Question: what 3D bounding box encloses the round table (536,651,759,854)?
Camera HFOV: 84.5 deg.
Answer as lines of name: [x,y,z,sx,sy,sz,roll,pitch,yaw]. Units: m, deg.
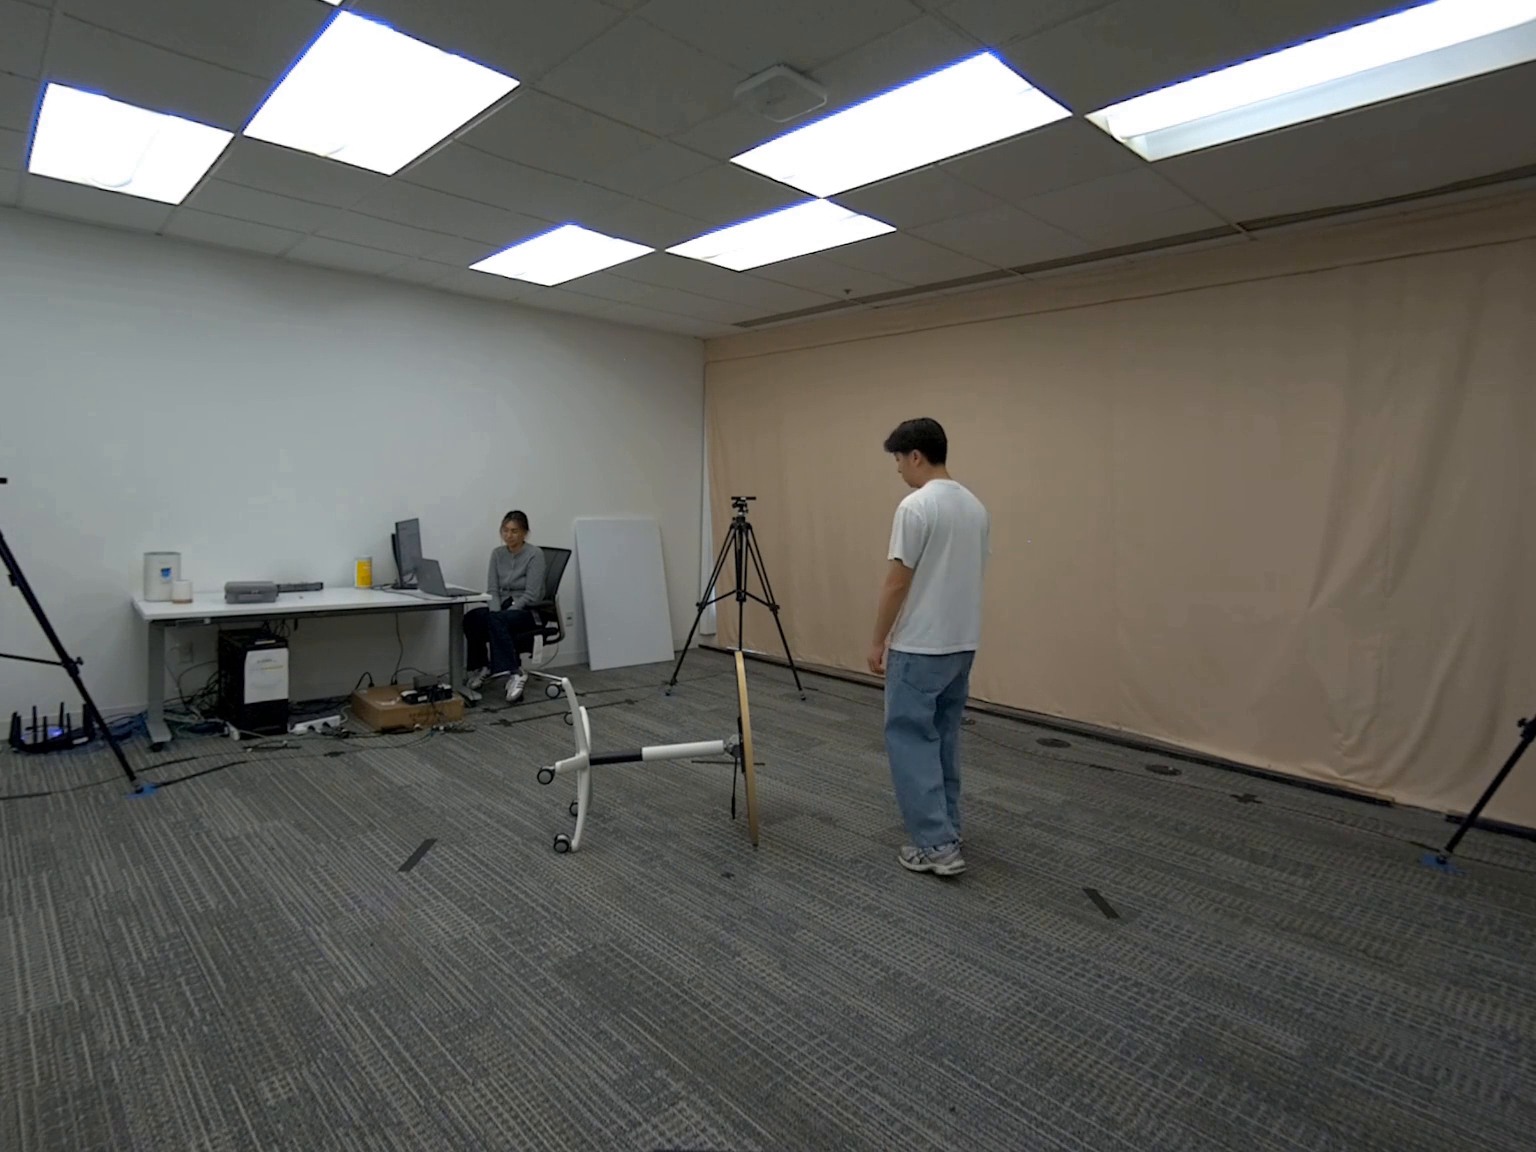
round table: [-0.475,0.720,3.438,0.785,0.782,0.789,-5,5,-3]
